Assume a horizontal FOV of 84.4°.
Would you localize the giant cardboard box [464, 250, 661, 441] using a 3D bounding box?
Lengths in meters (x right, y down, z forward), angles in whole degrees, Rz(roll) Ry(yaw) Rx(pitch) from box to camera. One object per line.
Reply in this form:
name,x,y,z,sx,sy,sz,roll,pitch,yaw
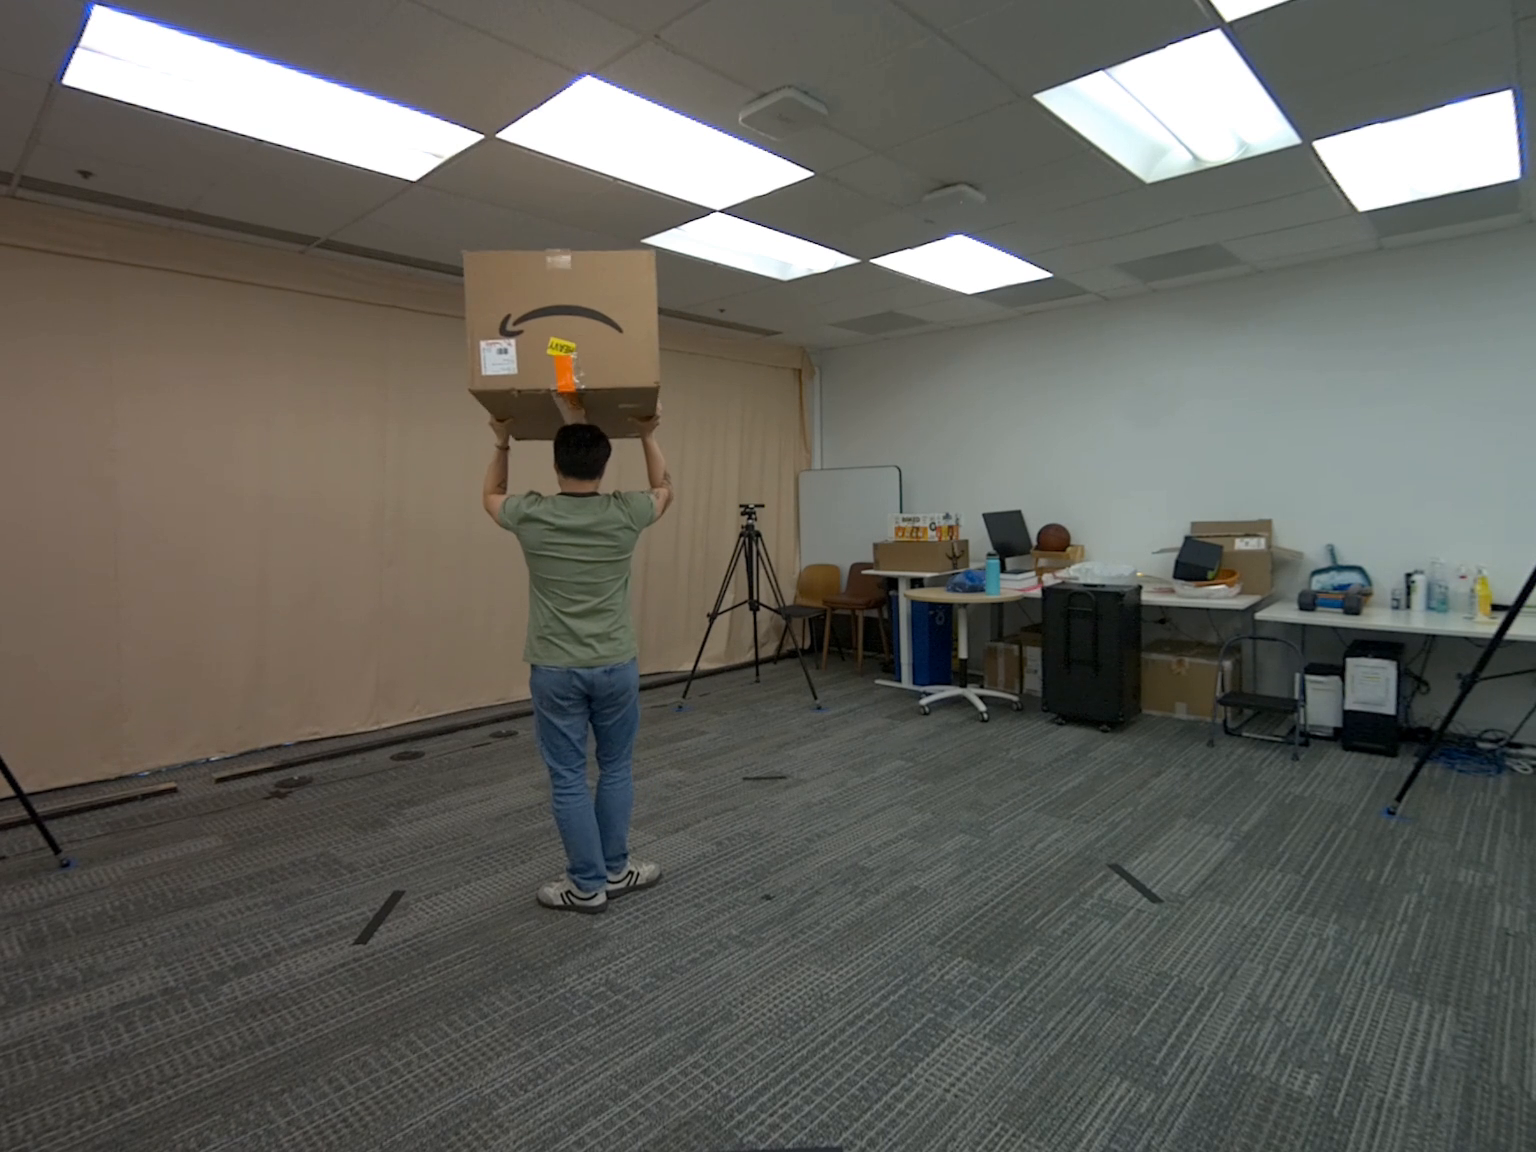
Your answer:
giant cardboard box,-0.697,-0.774,3.031,0.573,0.426,1.033,-3,1,-8
